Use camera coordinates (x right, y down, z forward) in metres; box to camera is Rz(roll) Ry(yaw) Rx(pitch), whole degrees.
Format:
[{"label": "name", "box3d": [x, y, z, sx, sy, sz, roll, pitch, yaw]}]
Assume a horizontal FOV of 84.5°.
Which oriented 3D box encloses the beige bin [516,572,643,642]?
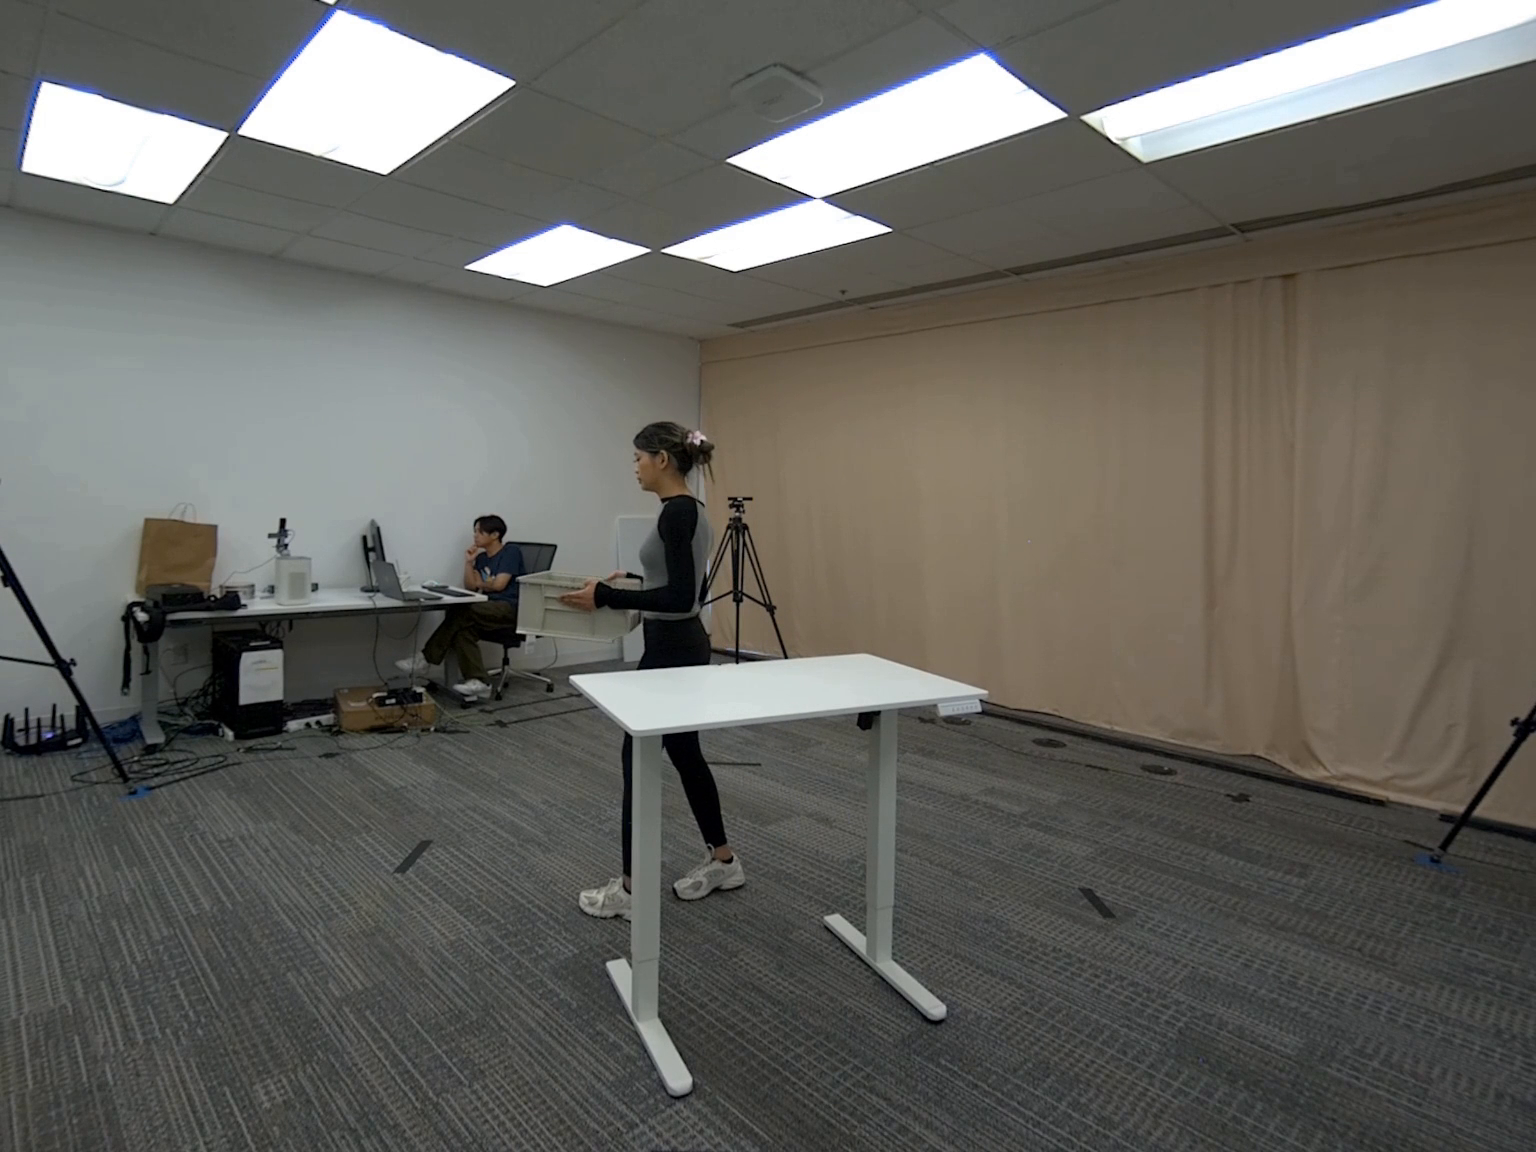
[{"label": "beige bin", "box3d": [-0.626, 0.100, 2.895, 0.378, 0.188, 0.423, 3, 4, 1]}]
